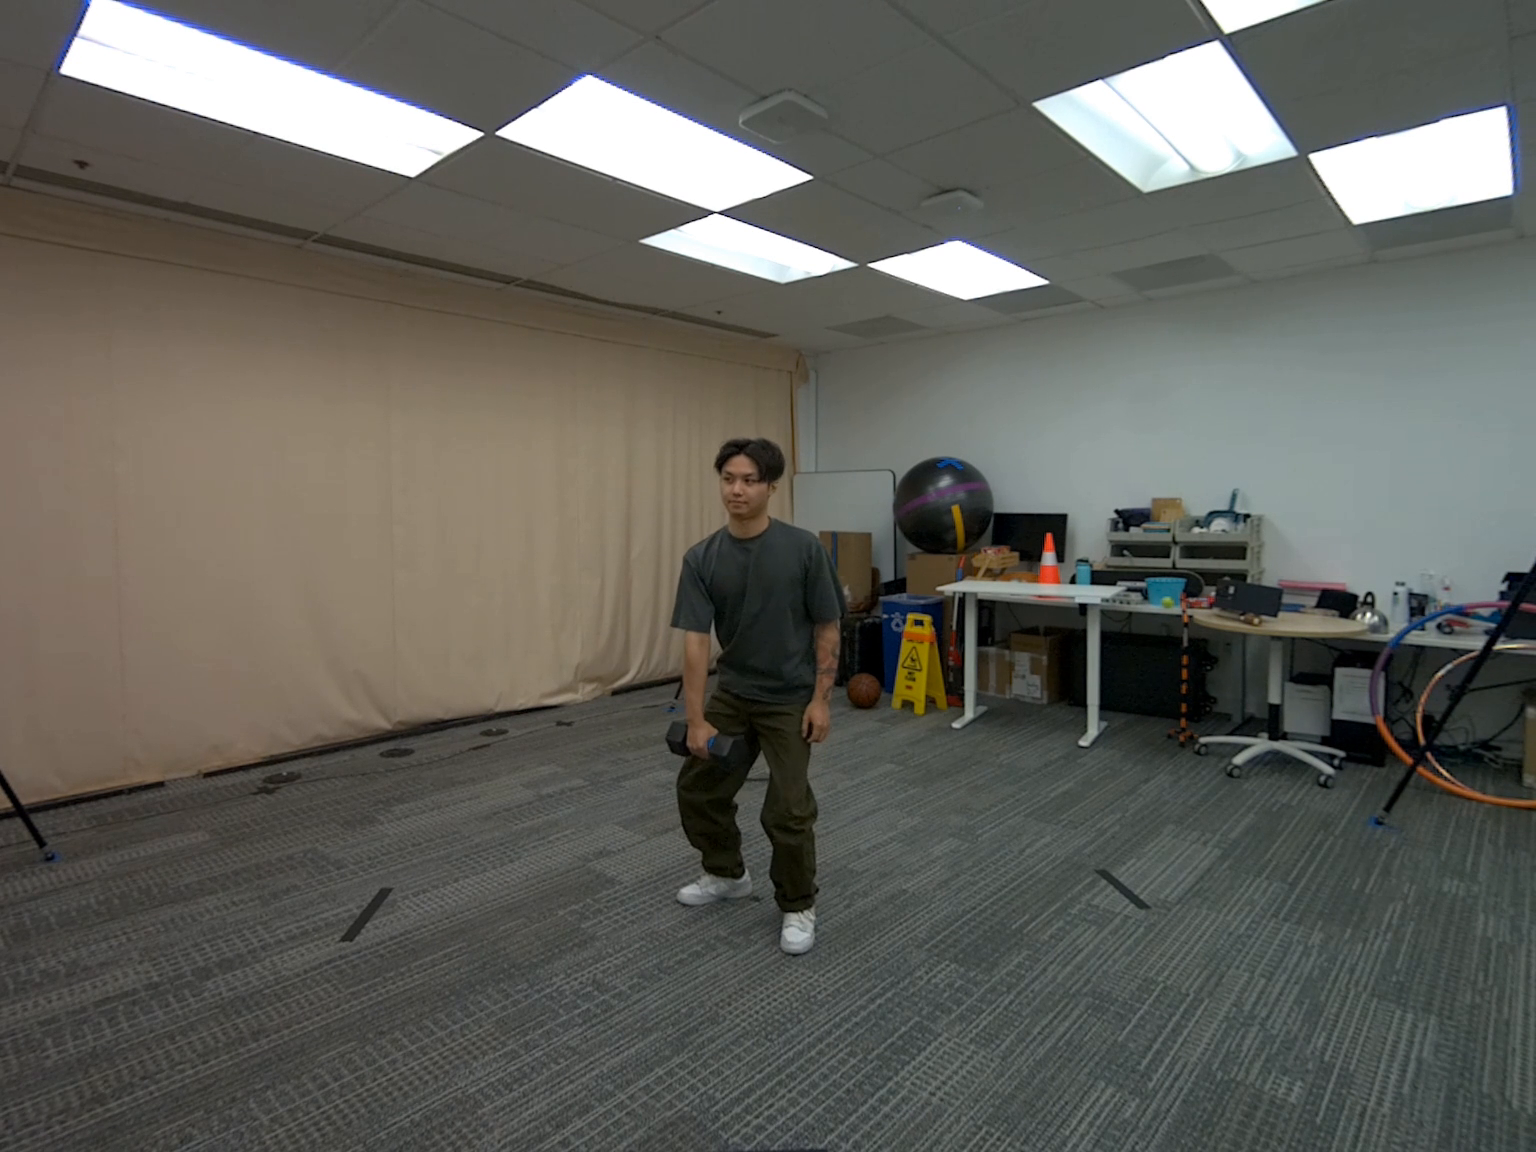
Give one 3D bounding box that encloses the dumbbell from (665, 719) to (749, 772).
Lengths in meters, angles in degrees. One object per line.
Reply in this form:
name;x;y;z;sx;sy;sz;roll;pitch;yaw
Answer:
dumbbell;-0.195;0.548;2.703;0.303;0.120;0.107;4;33;45
